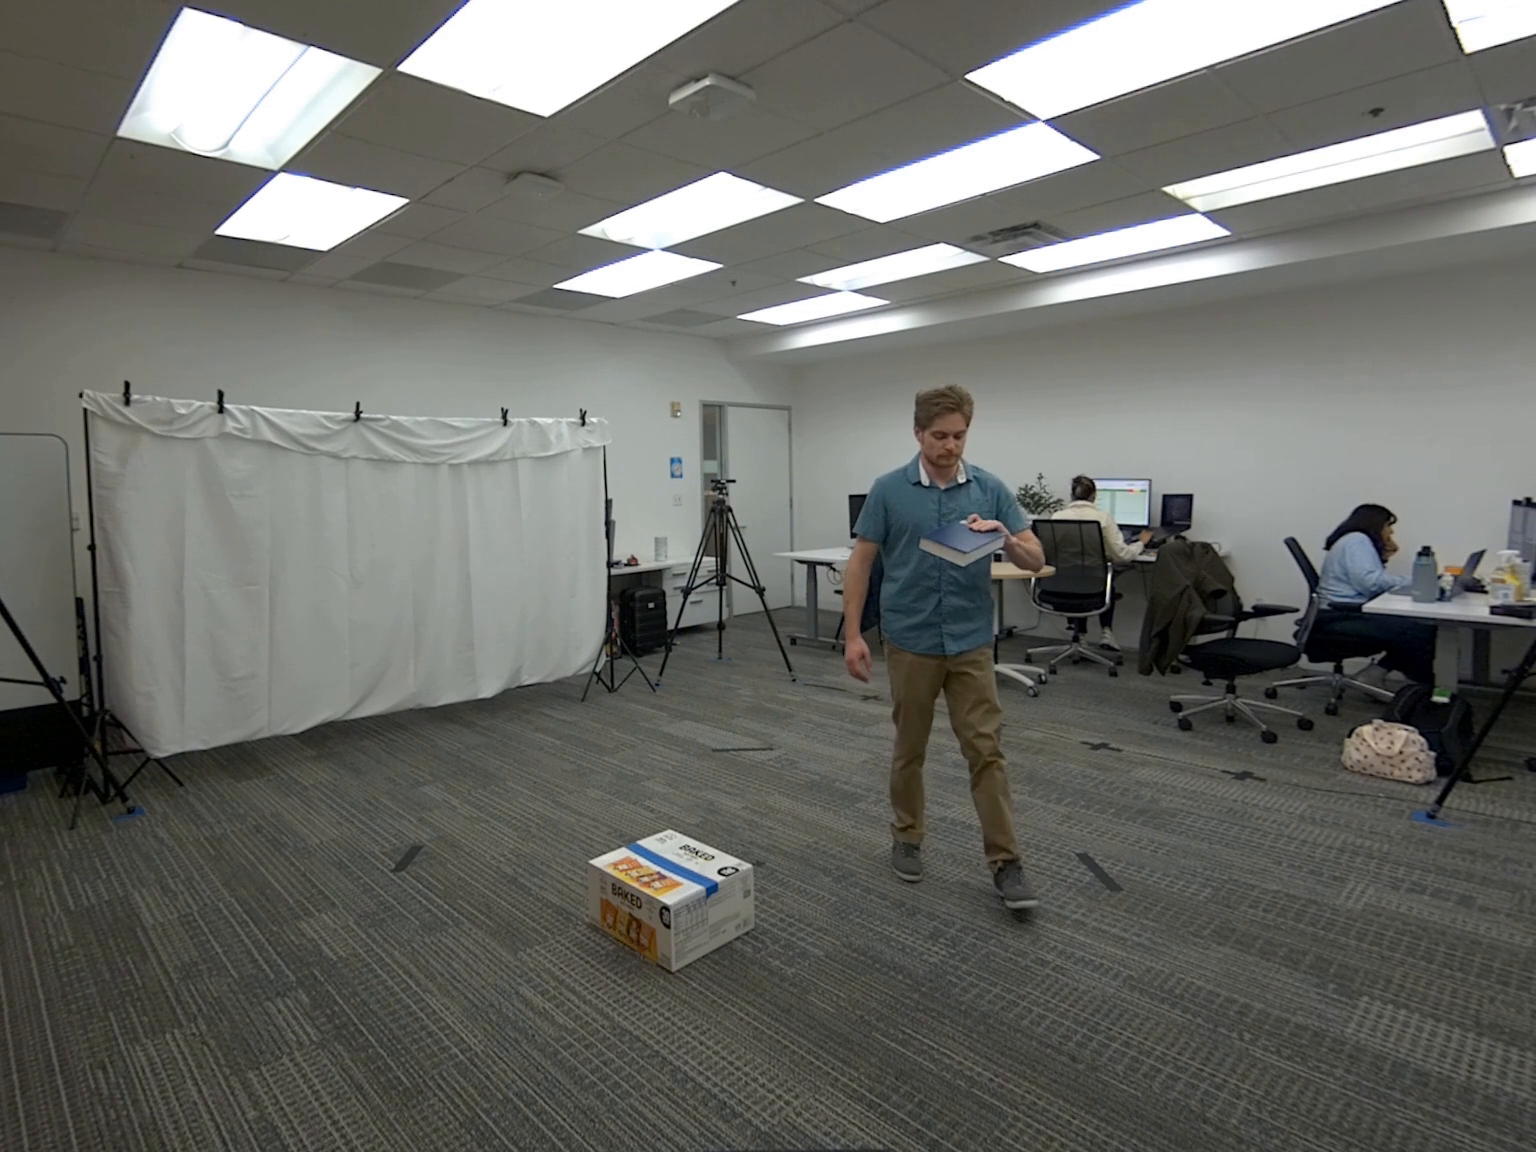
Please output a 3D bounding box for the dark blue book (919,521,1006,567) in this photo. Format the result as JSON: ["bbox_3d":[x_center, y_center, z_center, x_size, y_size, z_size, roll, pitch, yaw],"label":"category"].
[{"bbox_3d":[0.599,-0.104,2.579,0.169,0.044,0.240,22,30,37],"label":"dark blue book"}]
